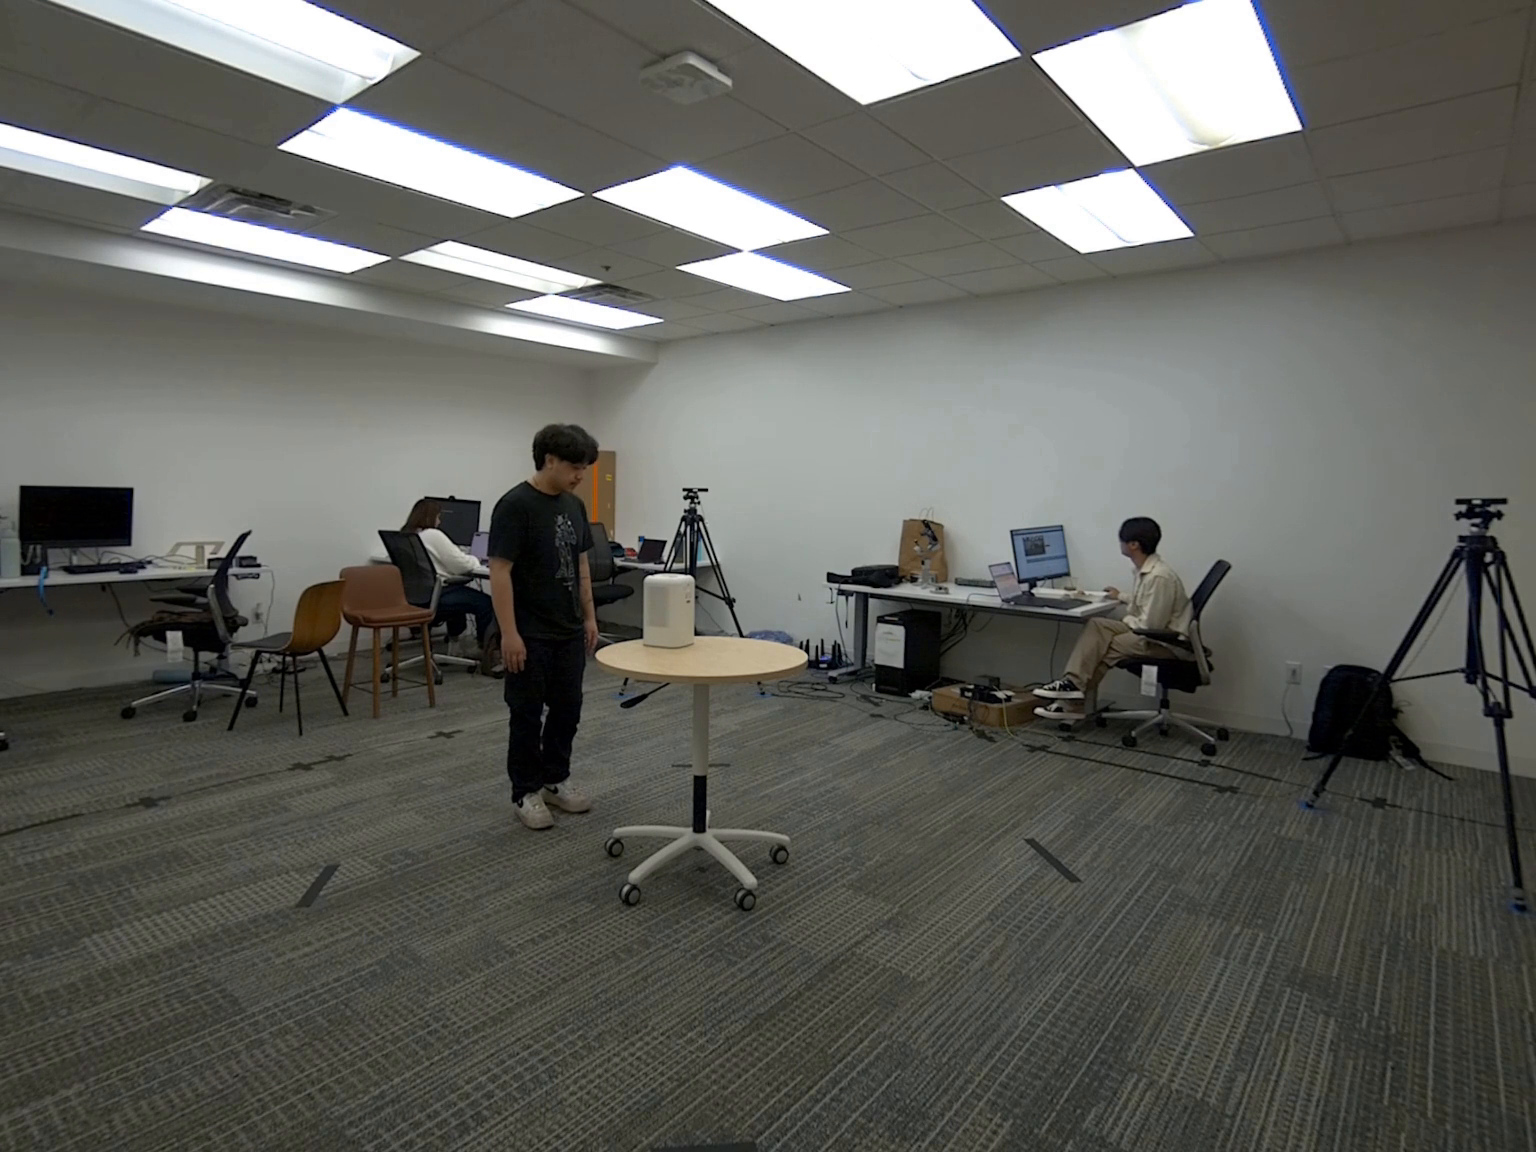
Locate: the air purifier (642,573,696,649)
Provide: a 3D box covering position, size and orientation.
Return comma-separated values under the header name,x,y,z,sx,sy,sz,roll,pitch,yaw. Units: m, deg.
name,x,y,z,sx,sy,sz,roll,pitch,yaw
air purifier,-0.391,0.124,3.268,0.176,0.265,0.167,1,2,25
